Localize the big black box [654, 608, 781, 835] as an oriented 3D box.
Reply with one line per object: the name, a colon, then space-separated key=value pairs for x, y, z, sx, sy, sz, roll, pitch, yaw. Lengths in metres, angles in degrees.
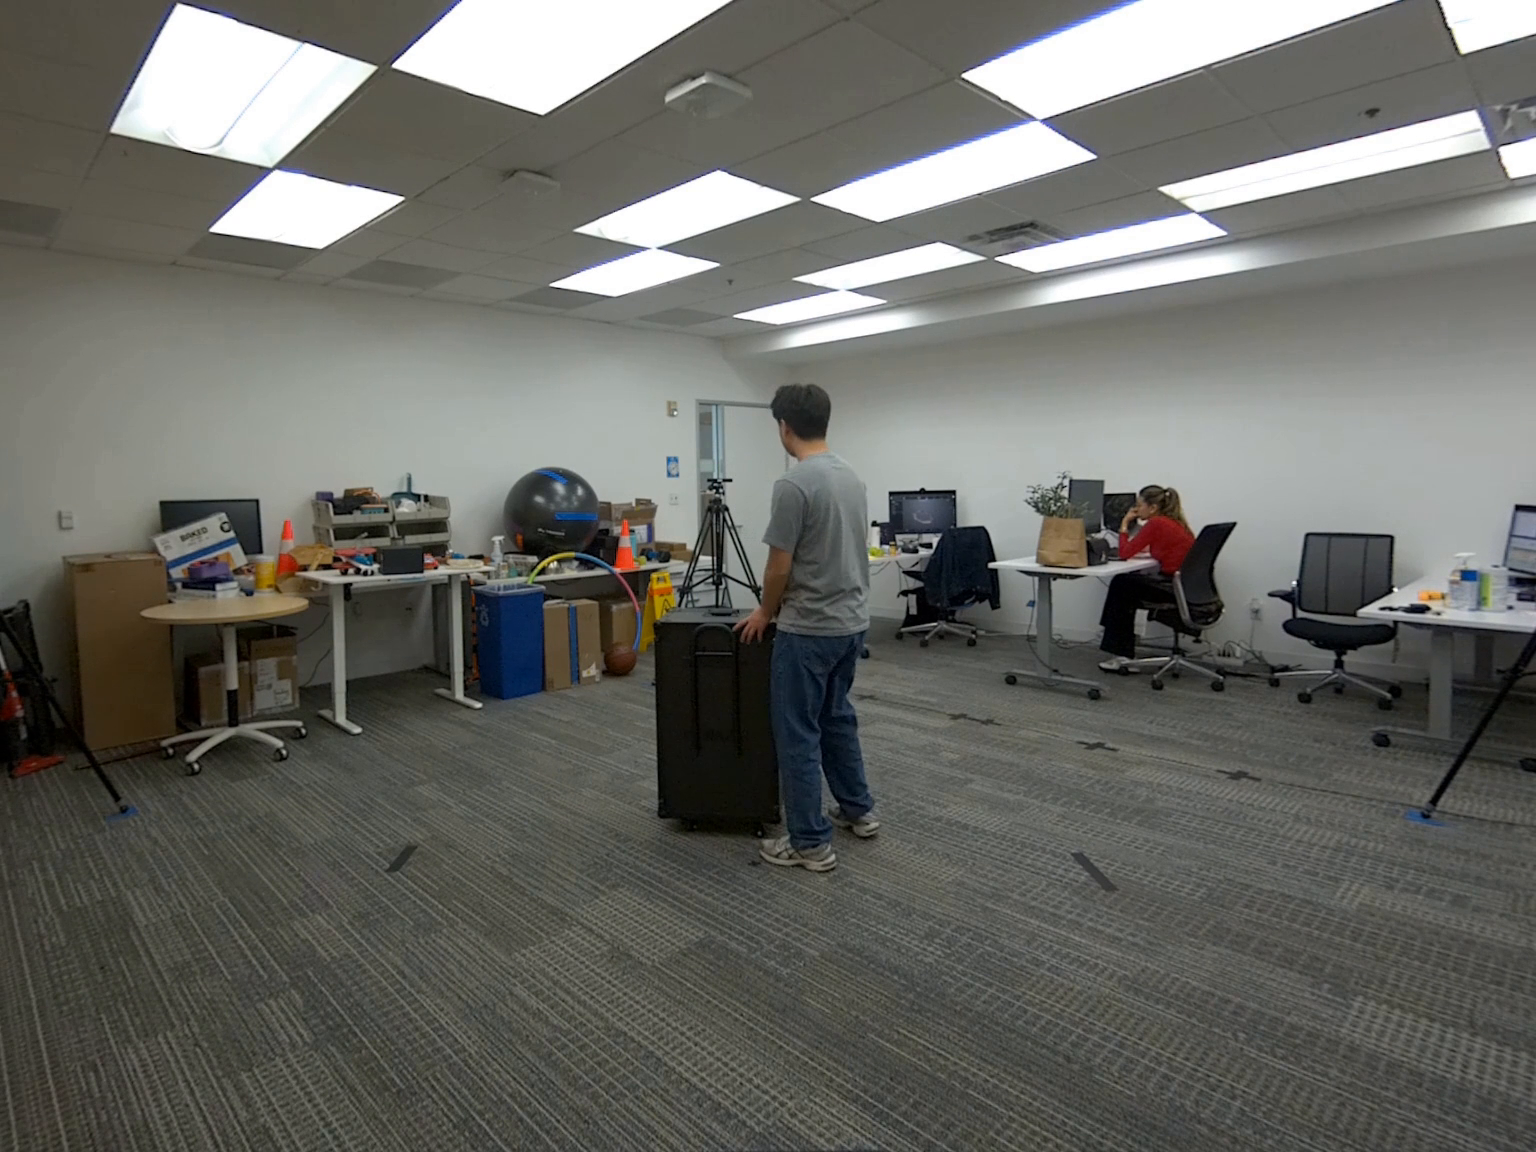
big black box: x=-0.174 y=0.586 z=3.470 sx=0.526 sy=0.858 sz=0.394 roll=0 pitch=4 yaw=10
